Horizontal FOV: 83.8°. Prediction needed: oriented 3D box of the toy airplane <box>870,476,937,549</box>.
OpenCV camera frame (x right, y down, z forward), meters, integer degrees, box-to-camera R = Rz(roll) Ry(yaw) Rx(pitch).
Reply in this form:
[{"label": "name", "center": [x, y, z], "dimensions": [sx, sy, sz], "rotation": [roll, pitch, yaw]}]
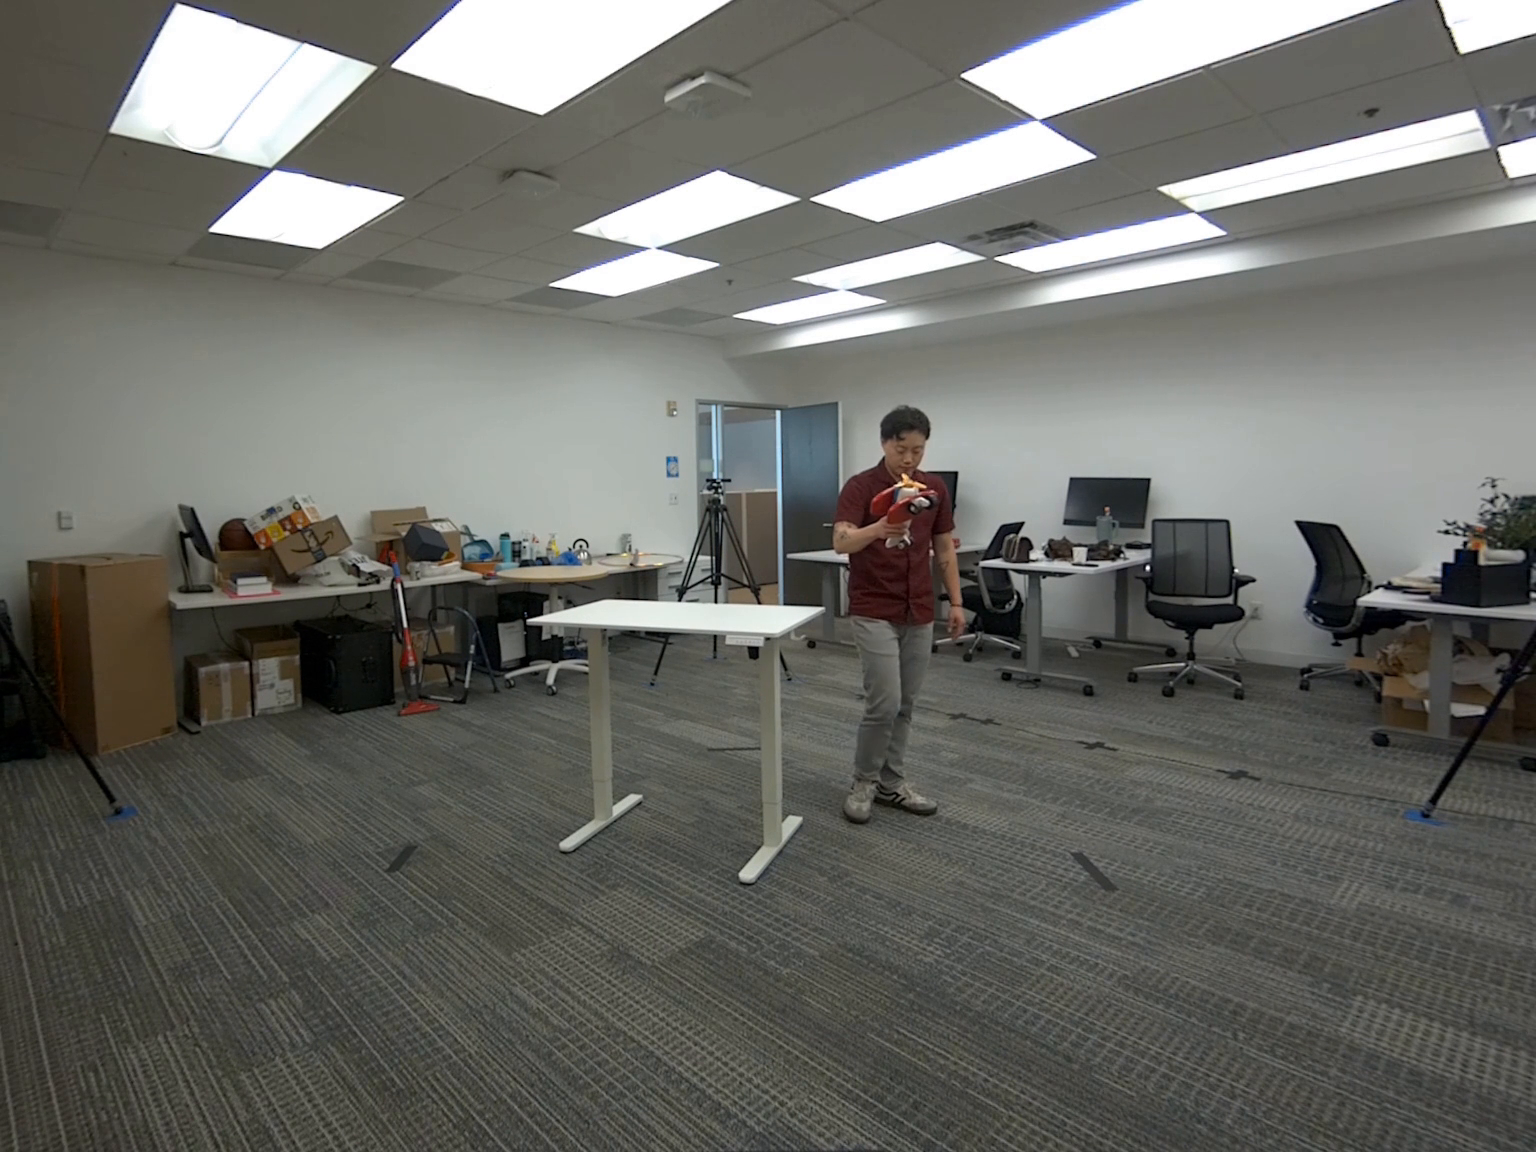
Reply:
[{"label": "toy airplane", "center": [0.483, -0.218, 3.062], "dimensions": [0.162, 0.258, 0.243], "rotation": [47, 22, 28]}]
